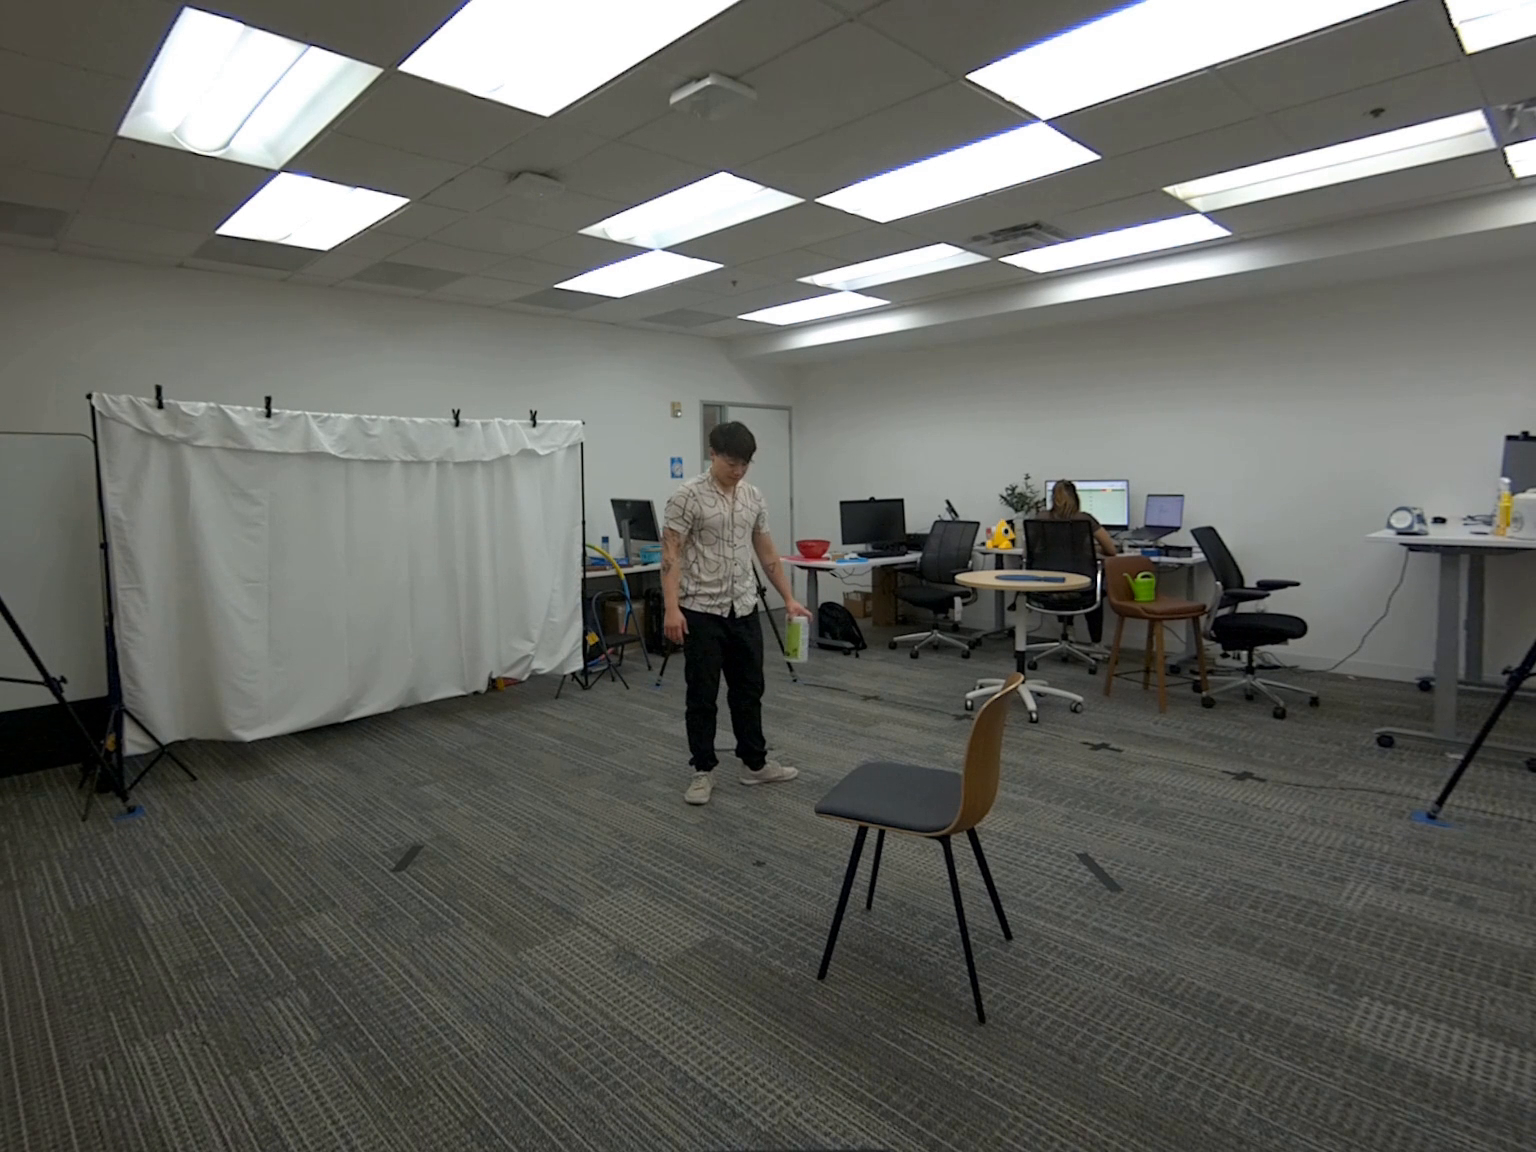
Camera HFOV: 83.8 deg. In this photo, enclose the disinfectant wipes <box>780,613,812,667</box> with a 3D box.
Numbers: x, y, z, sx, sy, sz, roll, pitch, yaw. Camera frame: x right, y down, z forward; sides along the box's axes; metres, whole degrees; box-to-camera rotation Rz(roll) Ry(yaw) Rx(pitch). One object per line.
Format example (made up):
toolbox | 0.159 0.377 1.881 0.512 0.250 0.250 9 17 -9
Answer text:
disinfectant wipes | 0.125 0.291 3.959 0.117 0.217 0.118 3 5 -2
